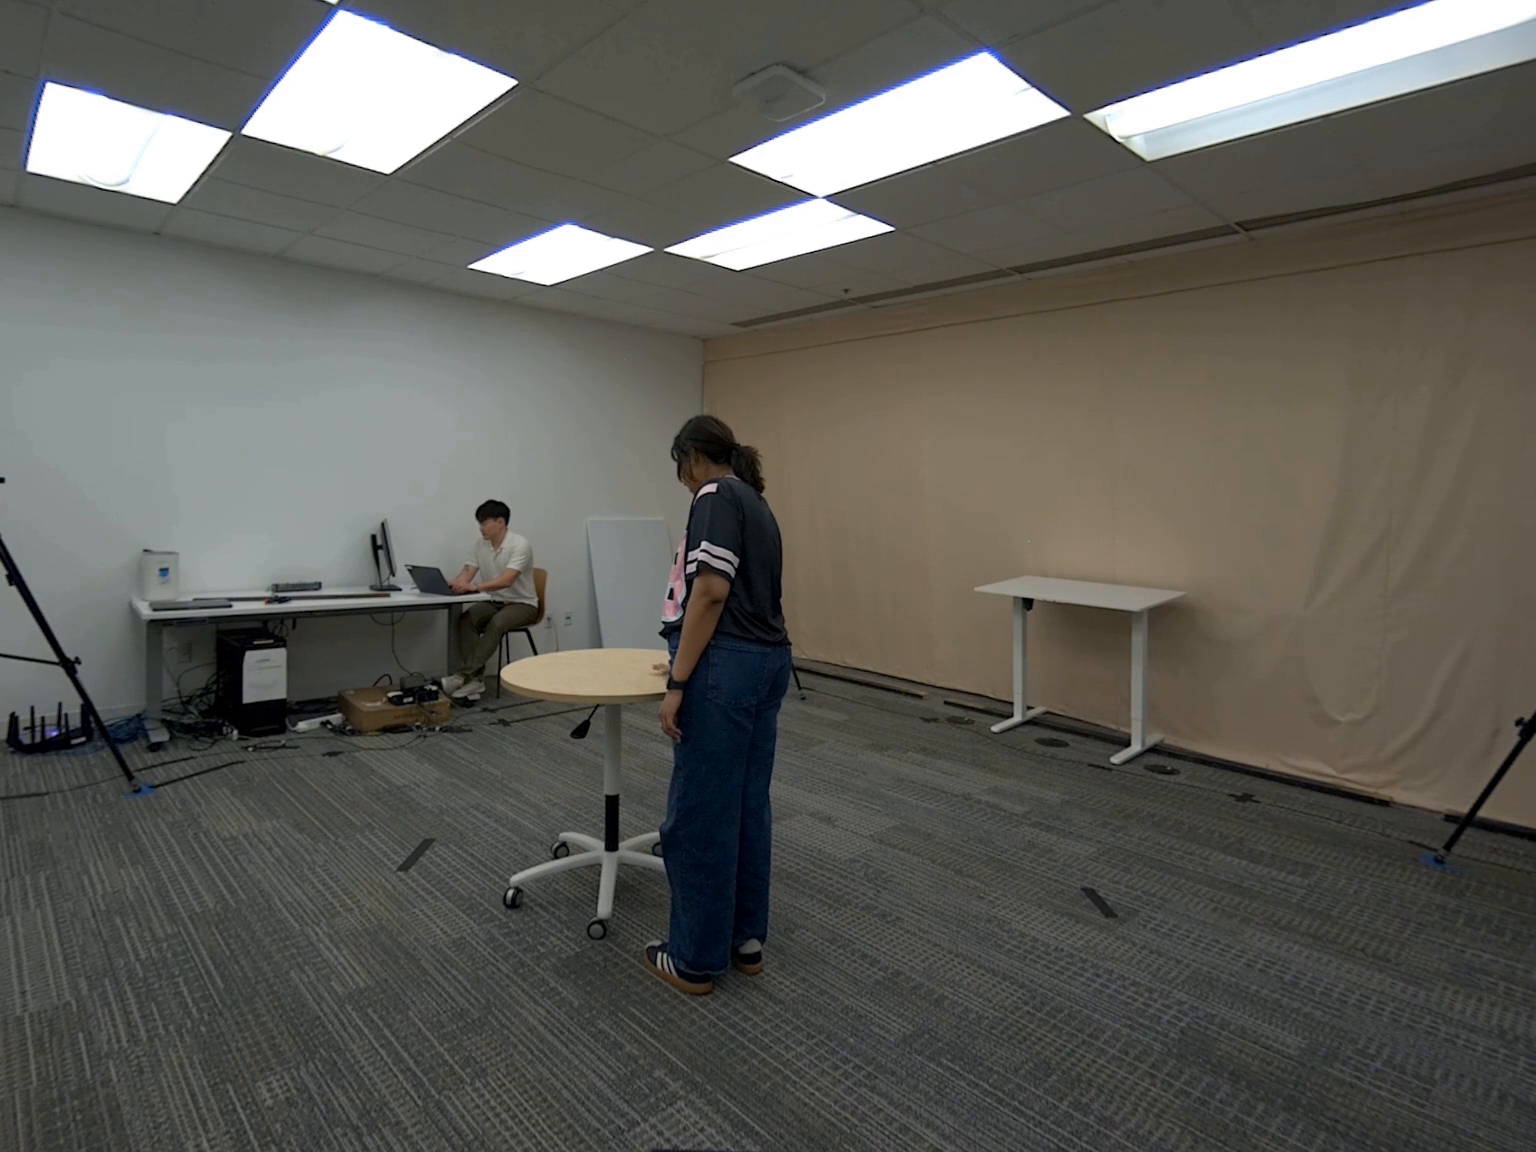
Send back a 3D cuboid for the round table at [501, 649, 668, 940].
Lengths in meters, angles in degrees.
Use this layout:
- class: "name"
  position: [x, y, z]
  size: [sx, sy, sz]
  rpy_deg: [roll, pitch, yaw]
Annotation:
- class: "round table"
  position: [-0.558, 0.718, 2.946]
  size: [0.784, 0.784, 0.788]
  rpy_deg: [1, 4, -1]
